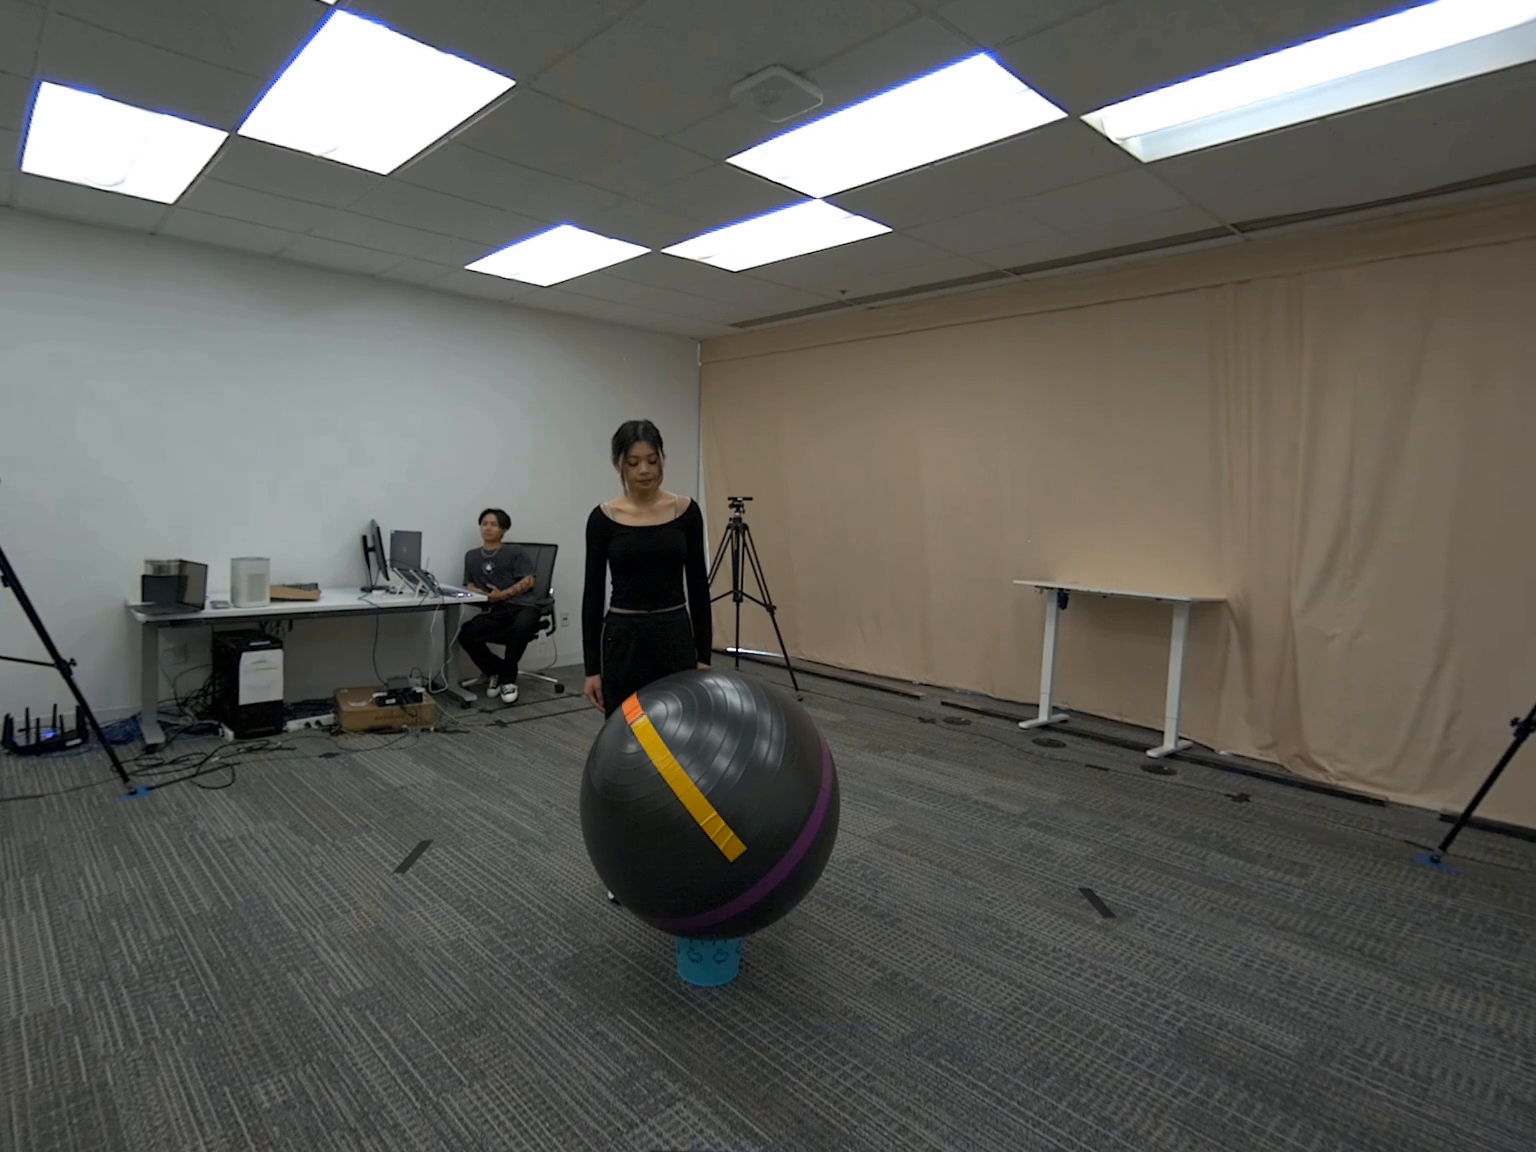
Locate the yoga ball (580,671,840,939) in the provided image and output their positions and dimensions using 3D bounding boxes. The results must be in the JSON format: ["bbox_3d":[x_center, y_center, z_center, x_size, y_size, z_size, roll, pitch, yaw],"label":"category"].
[{"bbox_3d":[-0.166,0.659,2.450,0.757,0.756,0.761,1,4,-1],"label":"yoga ball"}]
